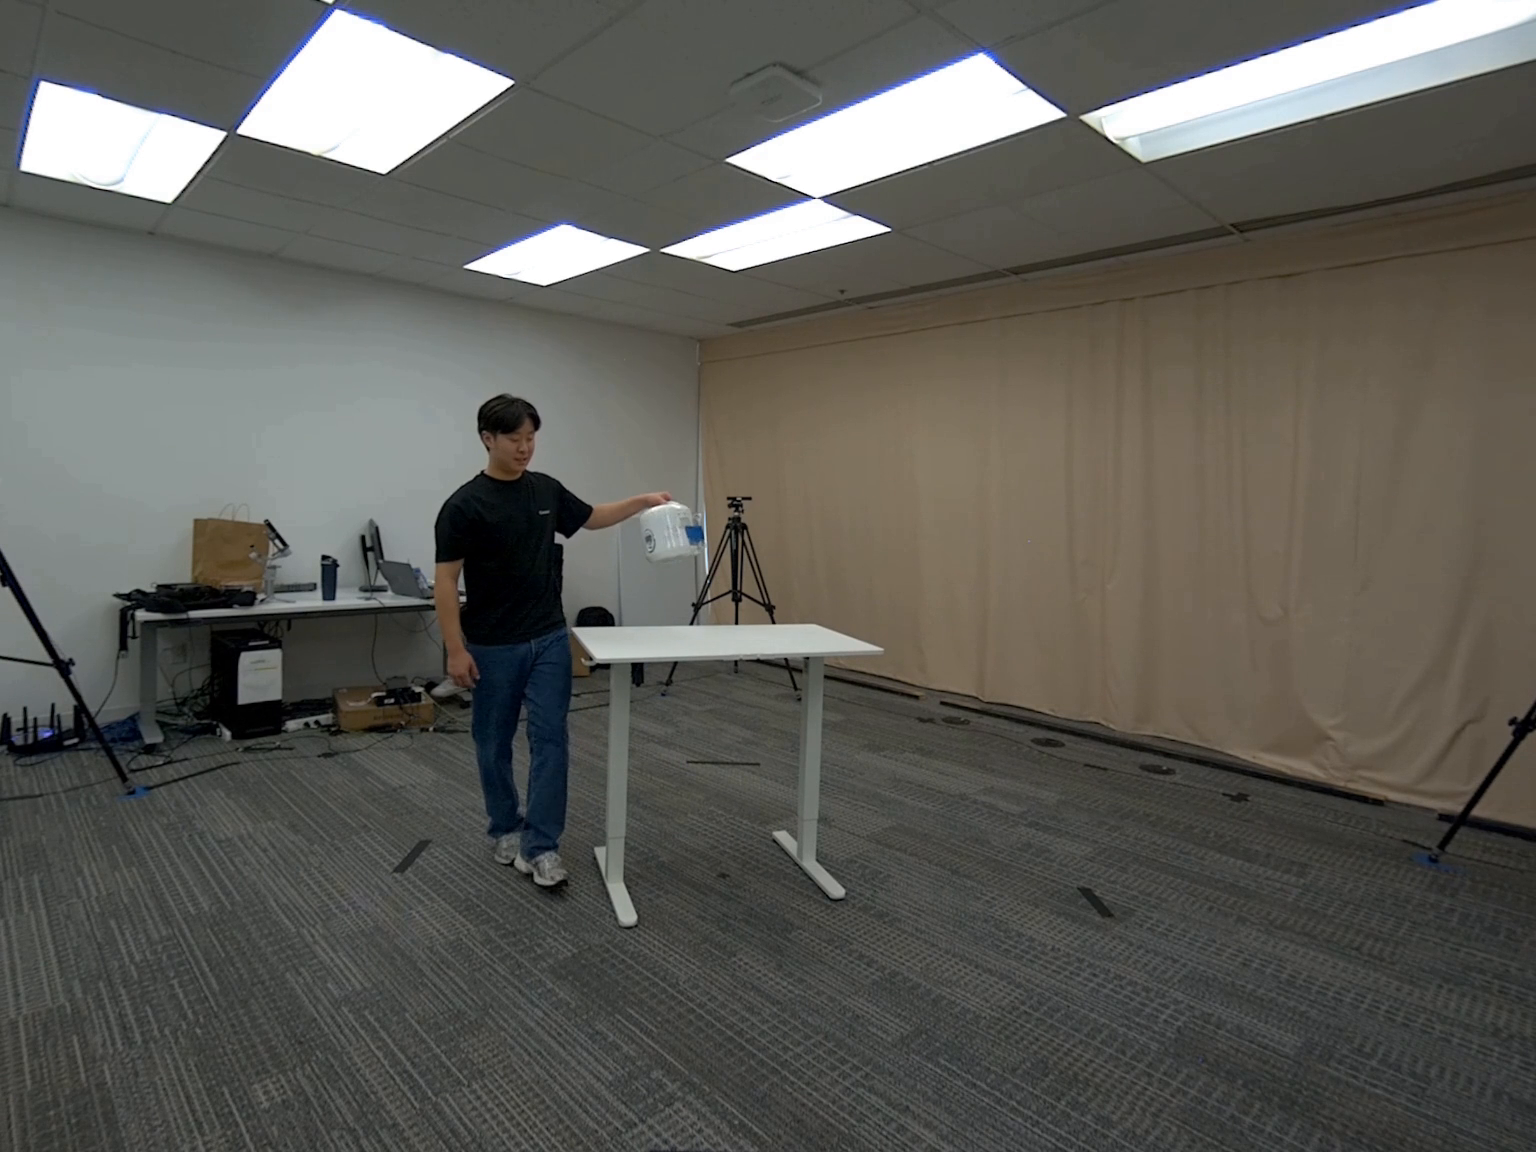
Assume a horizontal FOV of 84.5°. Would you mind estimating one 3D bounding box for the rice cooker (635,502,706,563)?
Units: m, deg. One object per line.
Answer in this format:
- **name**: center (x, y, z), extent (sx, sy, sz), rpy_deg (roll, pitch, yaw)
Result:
- **rice cooker**: center (-0.403, -0.167, 3.323), extent (0.212, 0.235, 0.224), rpy_deg (-2, -13, -46)
